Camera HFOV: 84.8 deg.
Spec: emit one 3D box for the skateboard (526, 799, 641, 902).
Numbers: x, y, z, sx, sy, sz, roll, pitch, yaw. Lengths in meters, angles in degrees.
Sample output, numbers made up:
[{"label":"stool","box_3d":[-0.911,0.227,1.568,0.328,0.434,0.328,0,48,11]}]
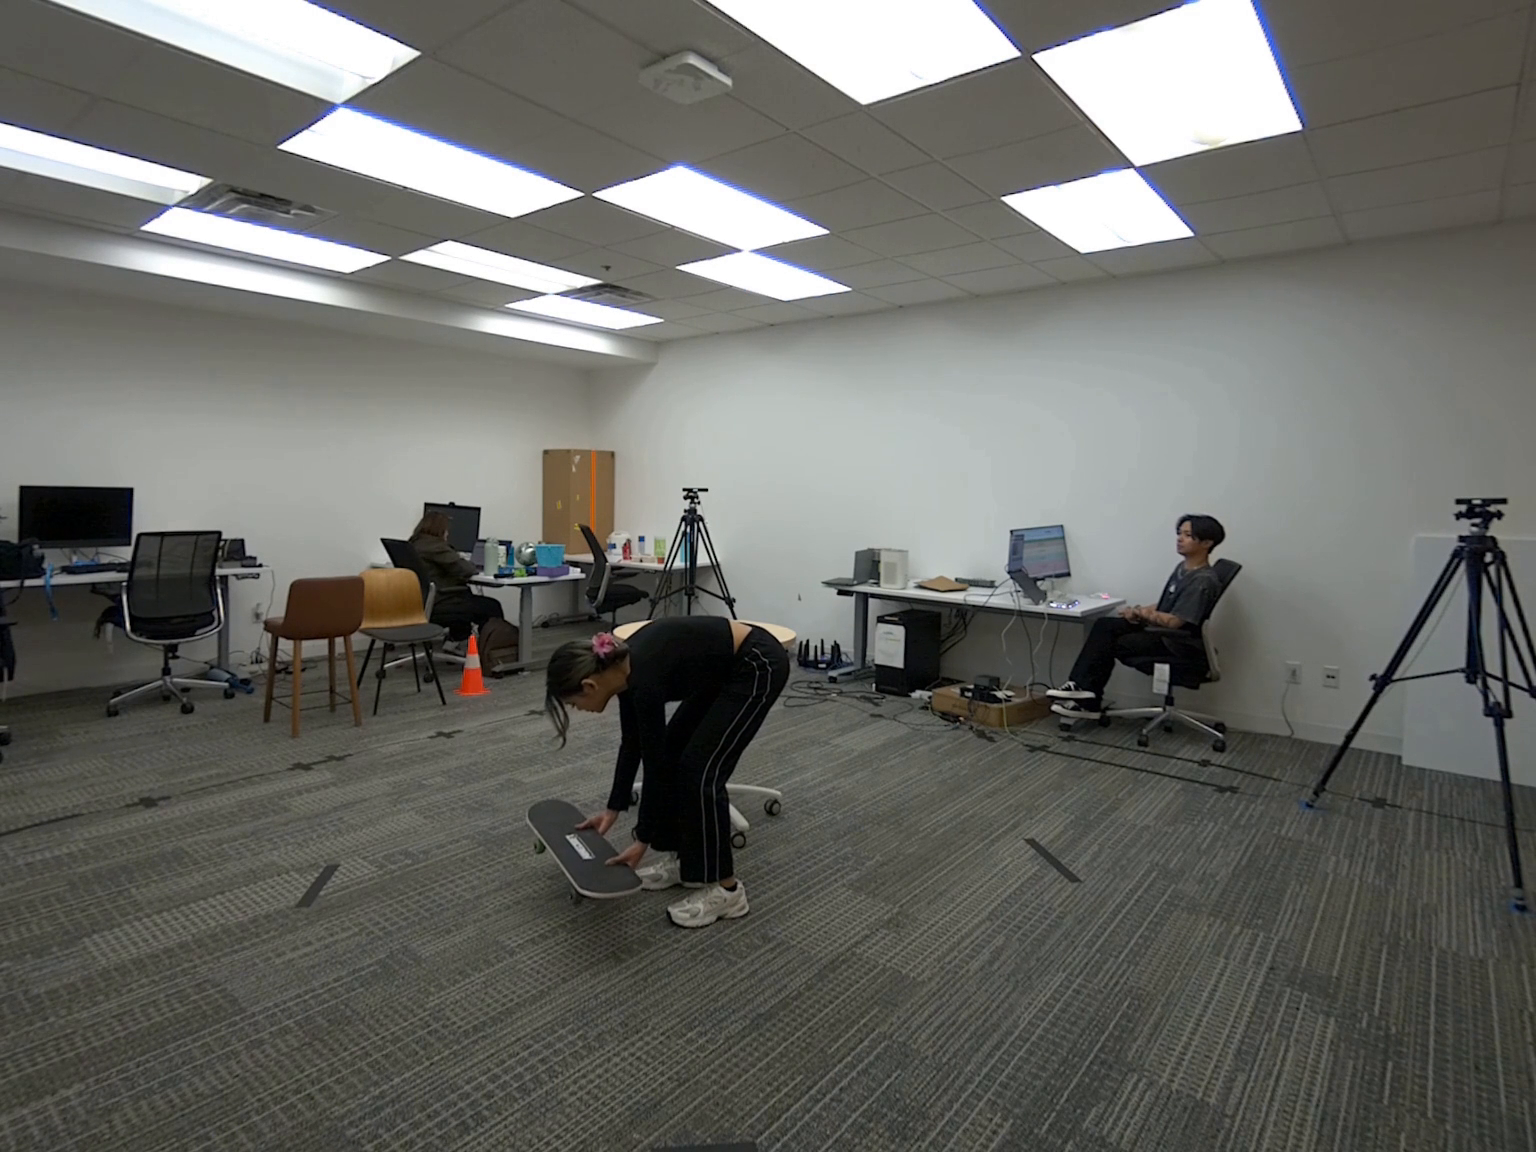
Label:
[{"label":"skateboard","box_3d":[-0.616,0.907,2.787,0.188,0.110,0.810,-1,6,-30]}]
